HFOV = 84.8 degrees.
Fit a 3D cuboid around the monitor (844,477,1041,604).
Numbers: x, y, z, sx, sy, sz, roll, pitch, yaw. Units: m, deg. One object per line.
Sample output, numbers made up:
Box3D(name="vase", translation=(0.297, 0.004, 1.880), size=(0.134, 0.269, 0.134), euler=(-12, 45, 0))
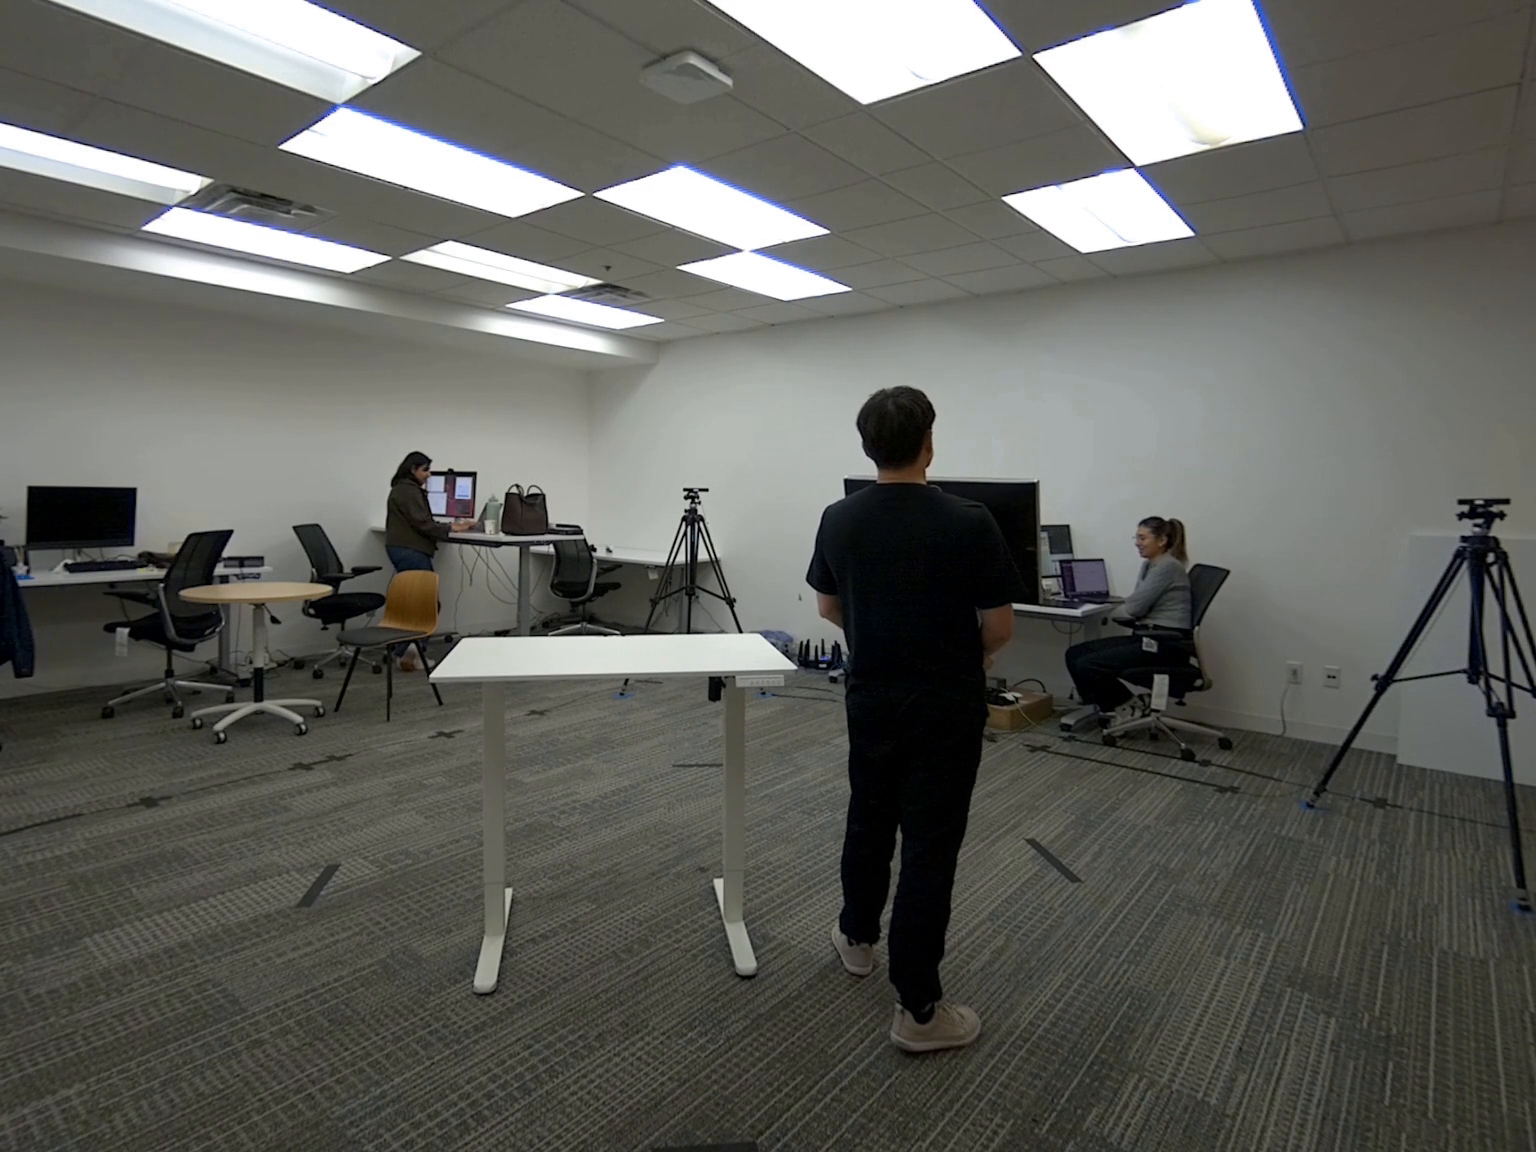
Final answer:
Box3D(name="monitor", translation=(0.469, -0.022, 2.450), size=(0.555, 0.518, 0.183), euler=(5, 10, 29))
